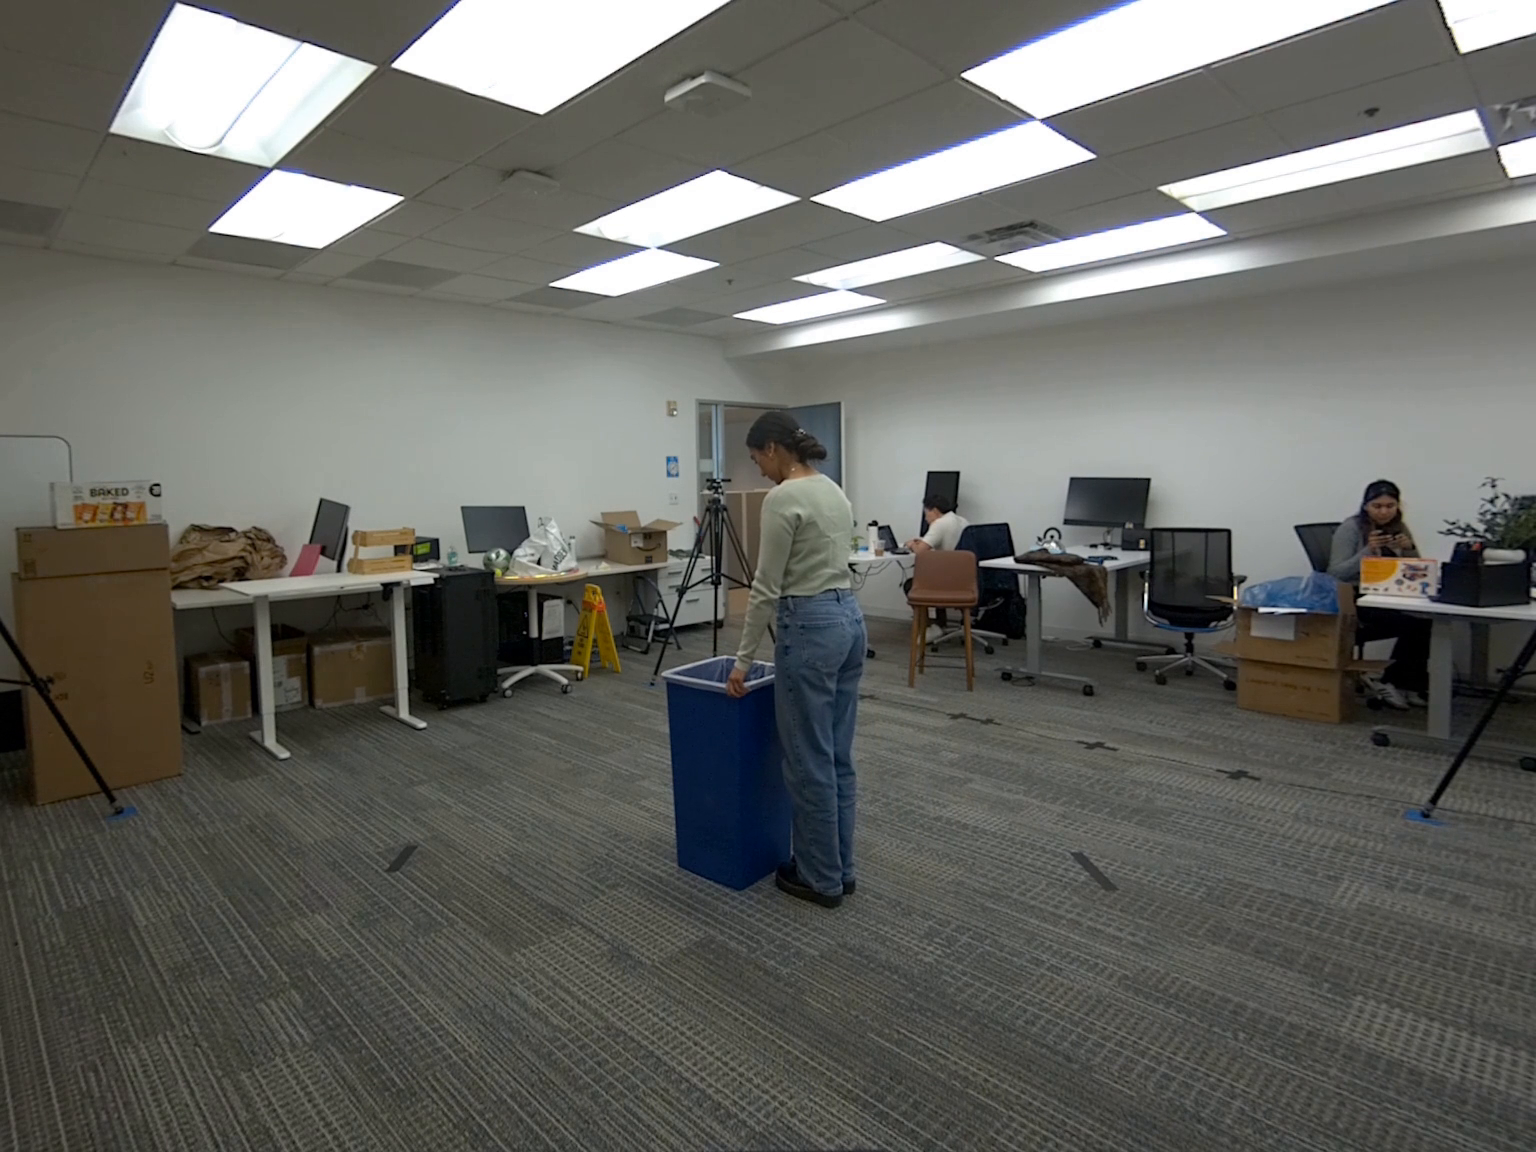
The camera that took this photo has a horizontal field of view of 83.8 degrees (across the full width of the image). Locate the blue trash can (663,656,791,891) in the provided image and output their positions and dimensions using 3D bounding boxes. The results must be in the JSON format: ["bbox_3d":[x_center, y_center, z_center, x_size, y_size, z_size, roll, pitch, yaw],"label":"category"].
[{"bbox_3d":[-0.129,0.691,3.075,0.389,0.711,0.364,2,5,39],"label":"blue trash can"}]
